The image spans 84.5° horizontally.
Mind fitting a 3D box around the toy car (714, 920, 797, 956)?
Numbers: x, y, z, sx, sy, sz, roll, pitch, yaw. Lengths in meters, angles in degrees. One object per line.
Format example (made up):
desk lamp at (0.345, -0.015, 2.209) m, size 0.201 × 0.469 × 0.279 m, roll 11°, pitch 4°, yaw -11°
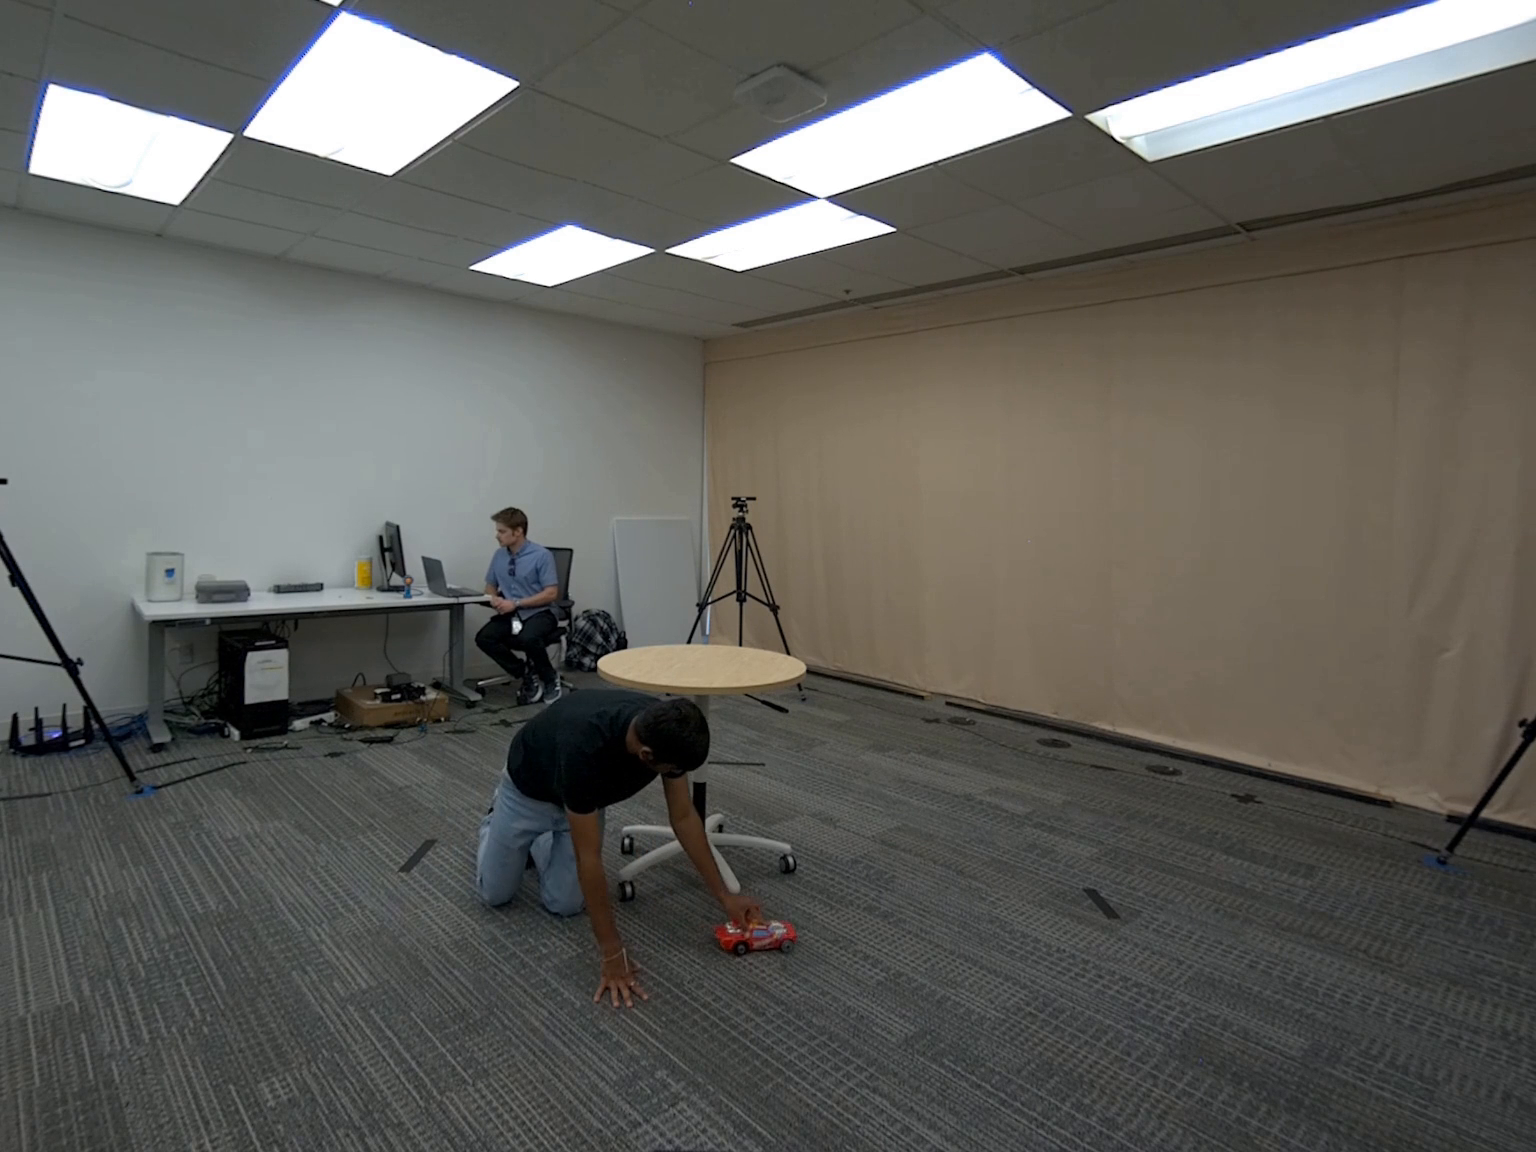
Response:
toy car at (-0.050, 1.115, 2.617) m, size 0.252 × 0.083 × 0.131 m, roll 11°, pitch 1°, yaw -10°
